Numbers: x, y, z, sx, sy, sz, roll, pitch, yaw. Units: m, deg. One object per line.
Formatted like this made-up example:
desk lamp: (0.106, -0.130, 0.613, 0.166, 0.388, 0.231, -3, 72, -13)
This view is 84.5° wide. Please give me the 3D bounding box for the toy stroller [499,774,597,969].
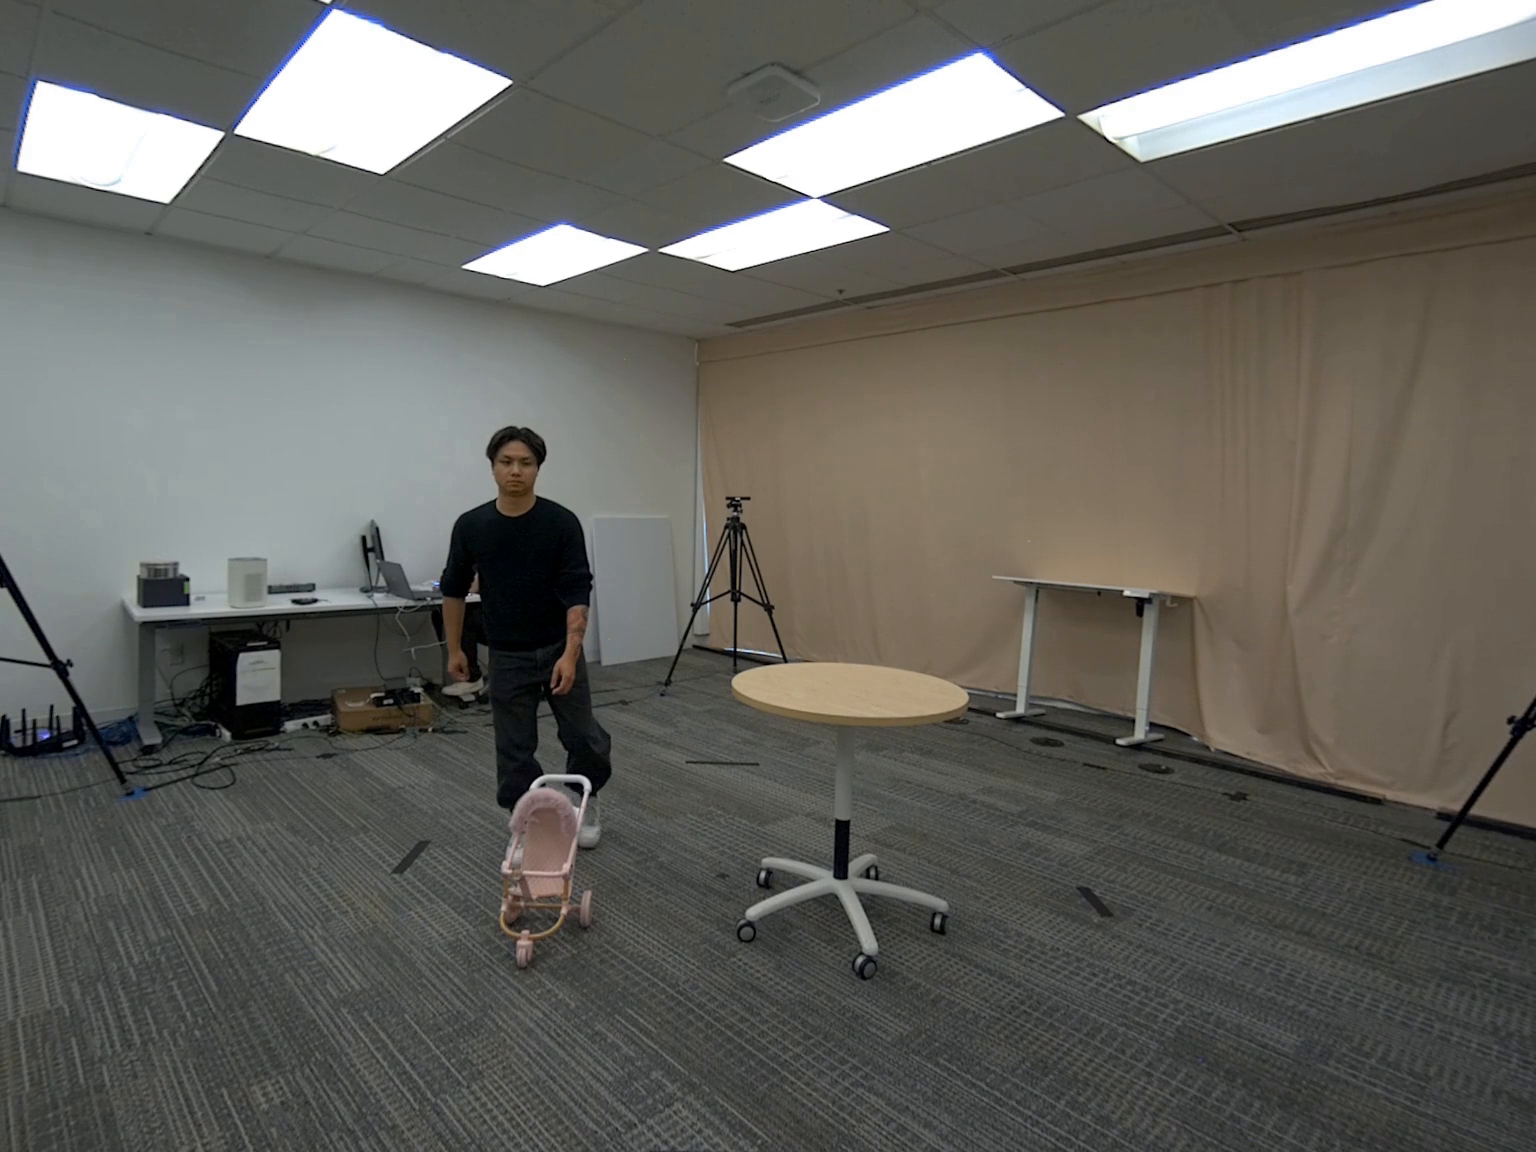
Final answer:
toy stroller: (-0.718, 0.915, 2.648, 0.283, 0.539, 0.336, 1, -12, 6)
